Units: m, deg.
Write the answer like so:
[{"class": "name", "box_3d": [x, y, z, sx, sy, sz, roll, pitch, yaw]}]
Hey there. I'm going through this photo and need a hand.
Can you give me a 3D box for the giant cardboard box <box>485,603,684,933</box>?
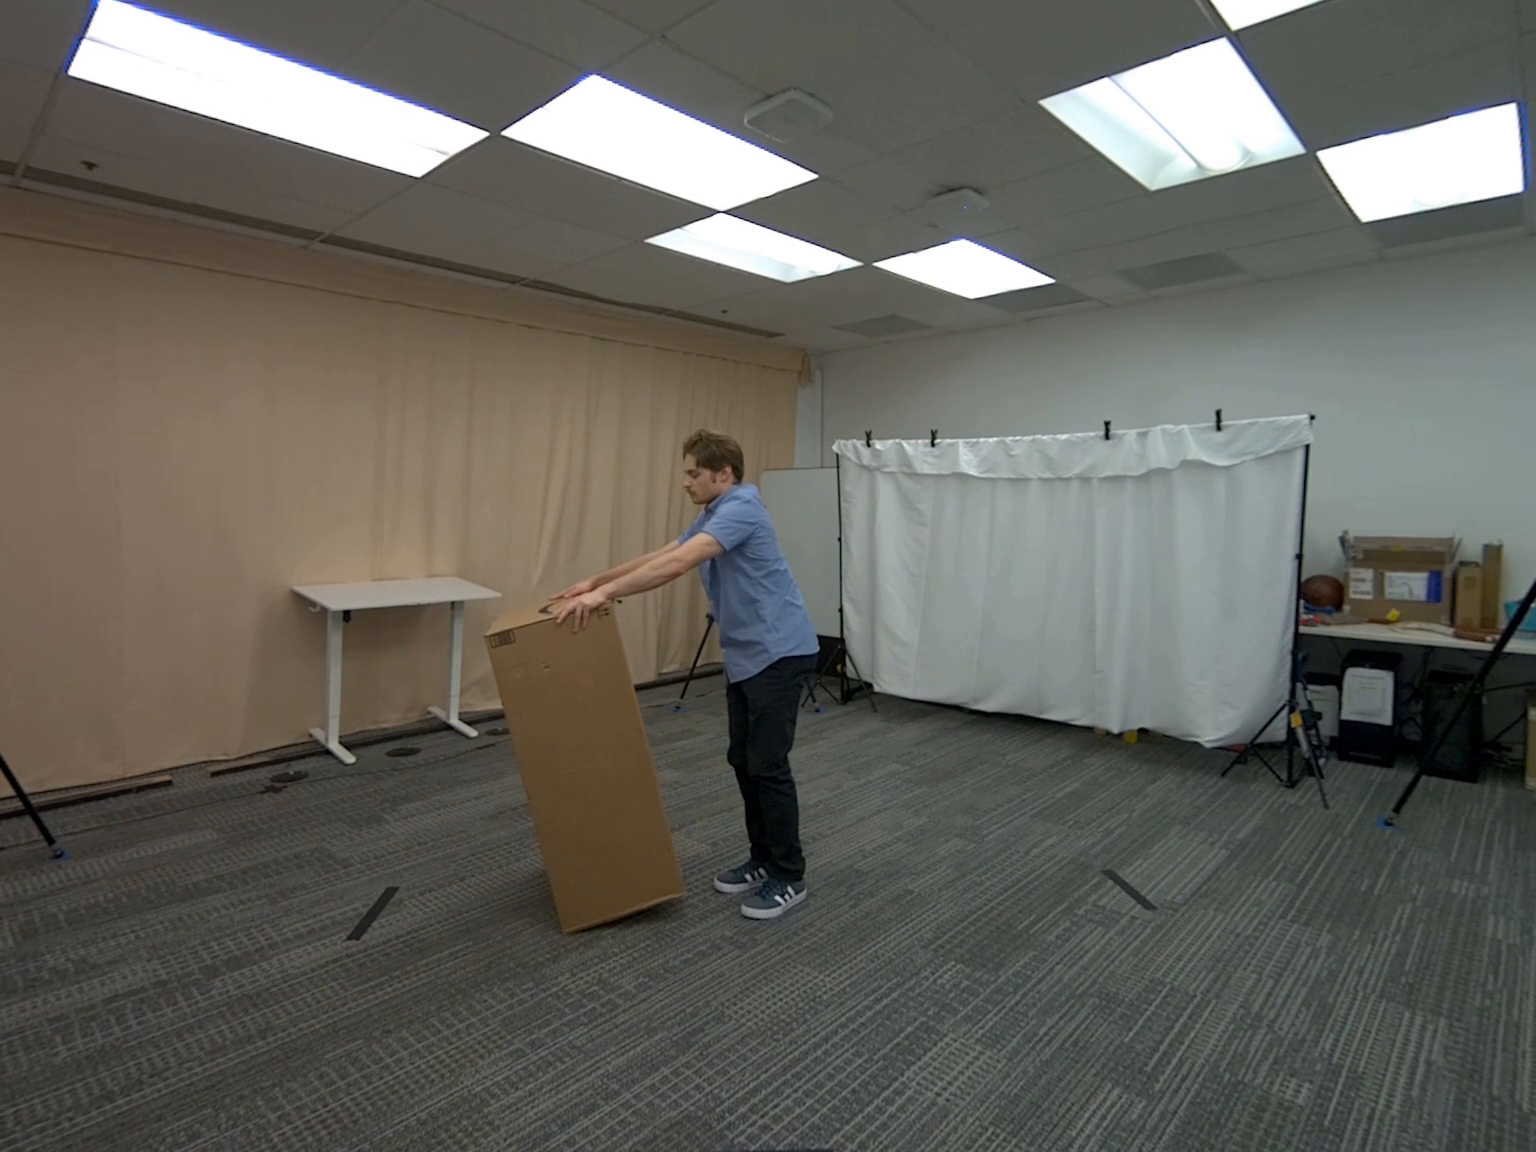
[{"class": "giant cardboard box", "box_3d": [-0.652, 0.608, 3.019, 0.443, 1.023, 0.591, -13, 5, -10]}]
